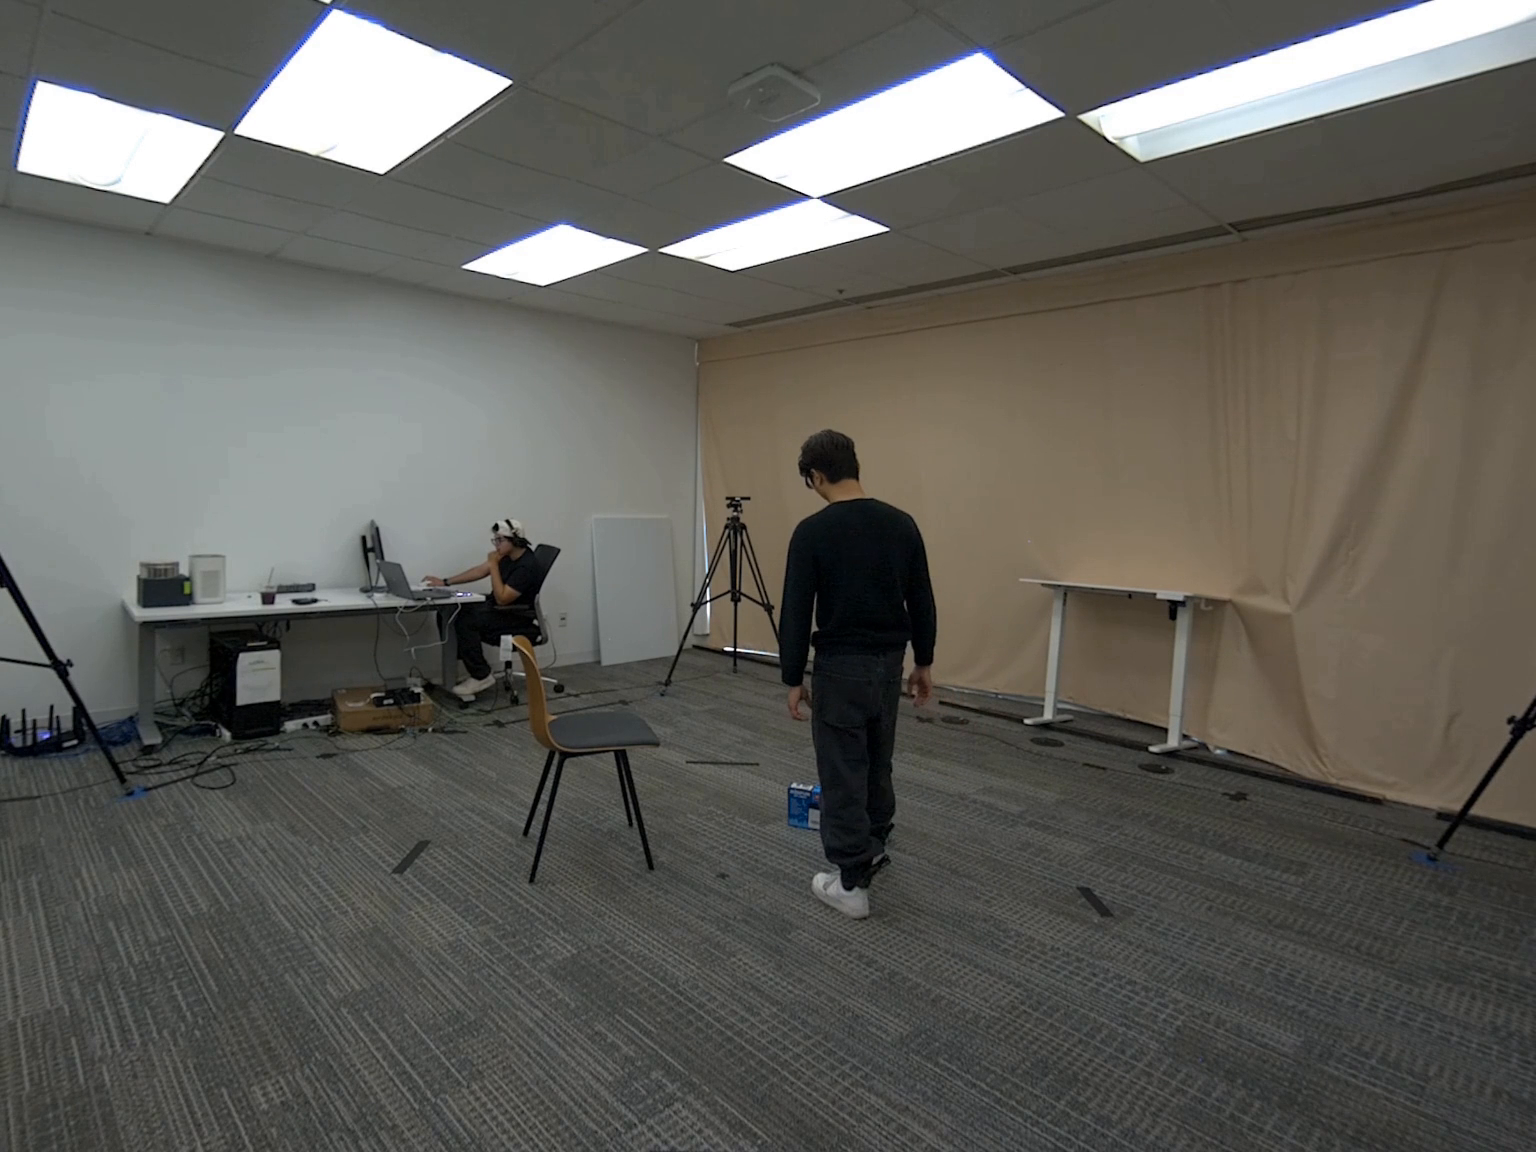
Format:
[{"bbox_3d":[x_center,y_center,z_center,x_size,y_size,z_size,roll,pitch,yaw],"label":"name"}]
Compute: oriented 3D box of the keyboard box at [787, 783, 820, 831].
[{"bbox_3d":[0.293,0.992,3.534,0.444,0.175,0.058,3,8,23],"label":"keyboard box"}]
